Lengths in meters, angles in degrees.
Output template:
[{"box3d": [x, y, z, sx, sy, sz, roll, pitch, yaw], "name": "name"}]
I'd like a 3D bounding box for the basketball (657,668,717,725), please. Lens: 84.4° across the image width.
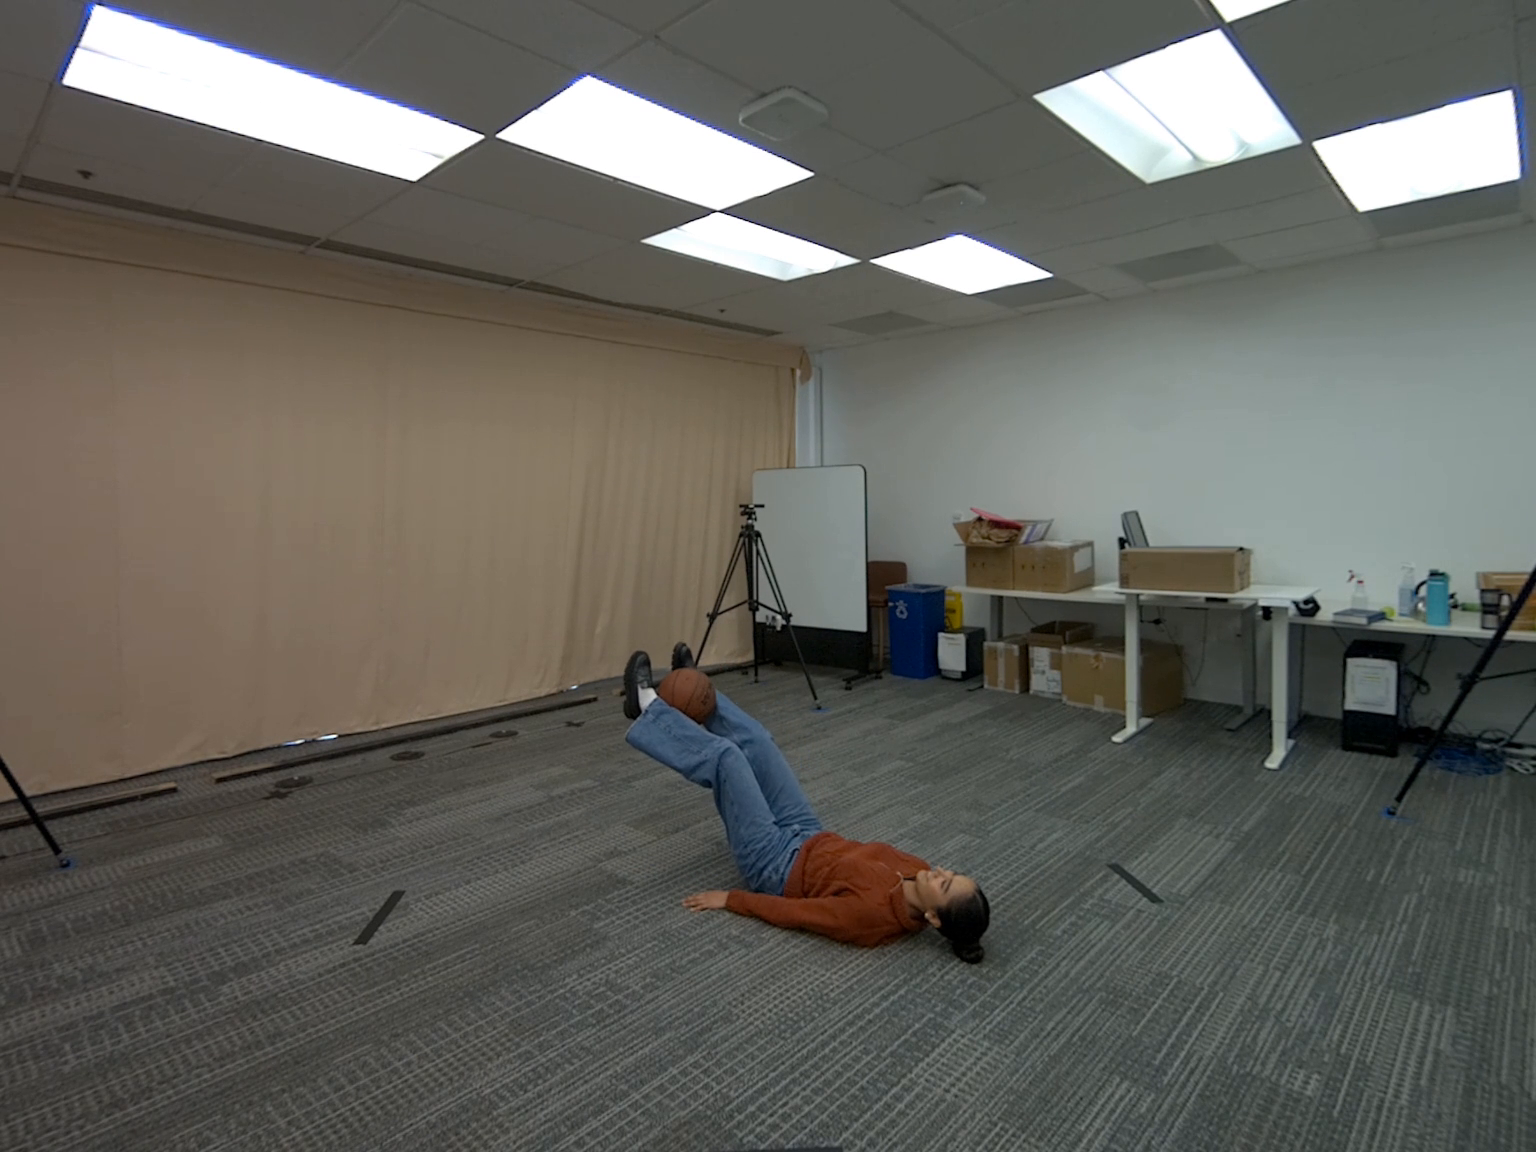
[{"box3d": [-0.323, 0.485, 3.333, 0.236, 0.235, 0.237, -1, 4, -2], "name": "basketball"}]
